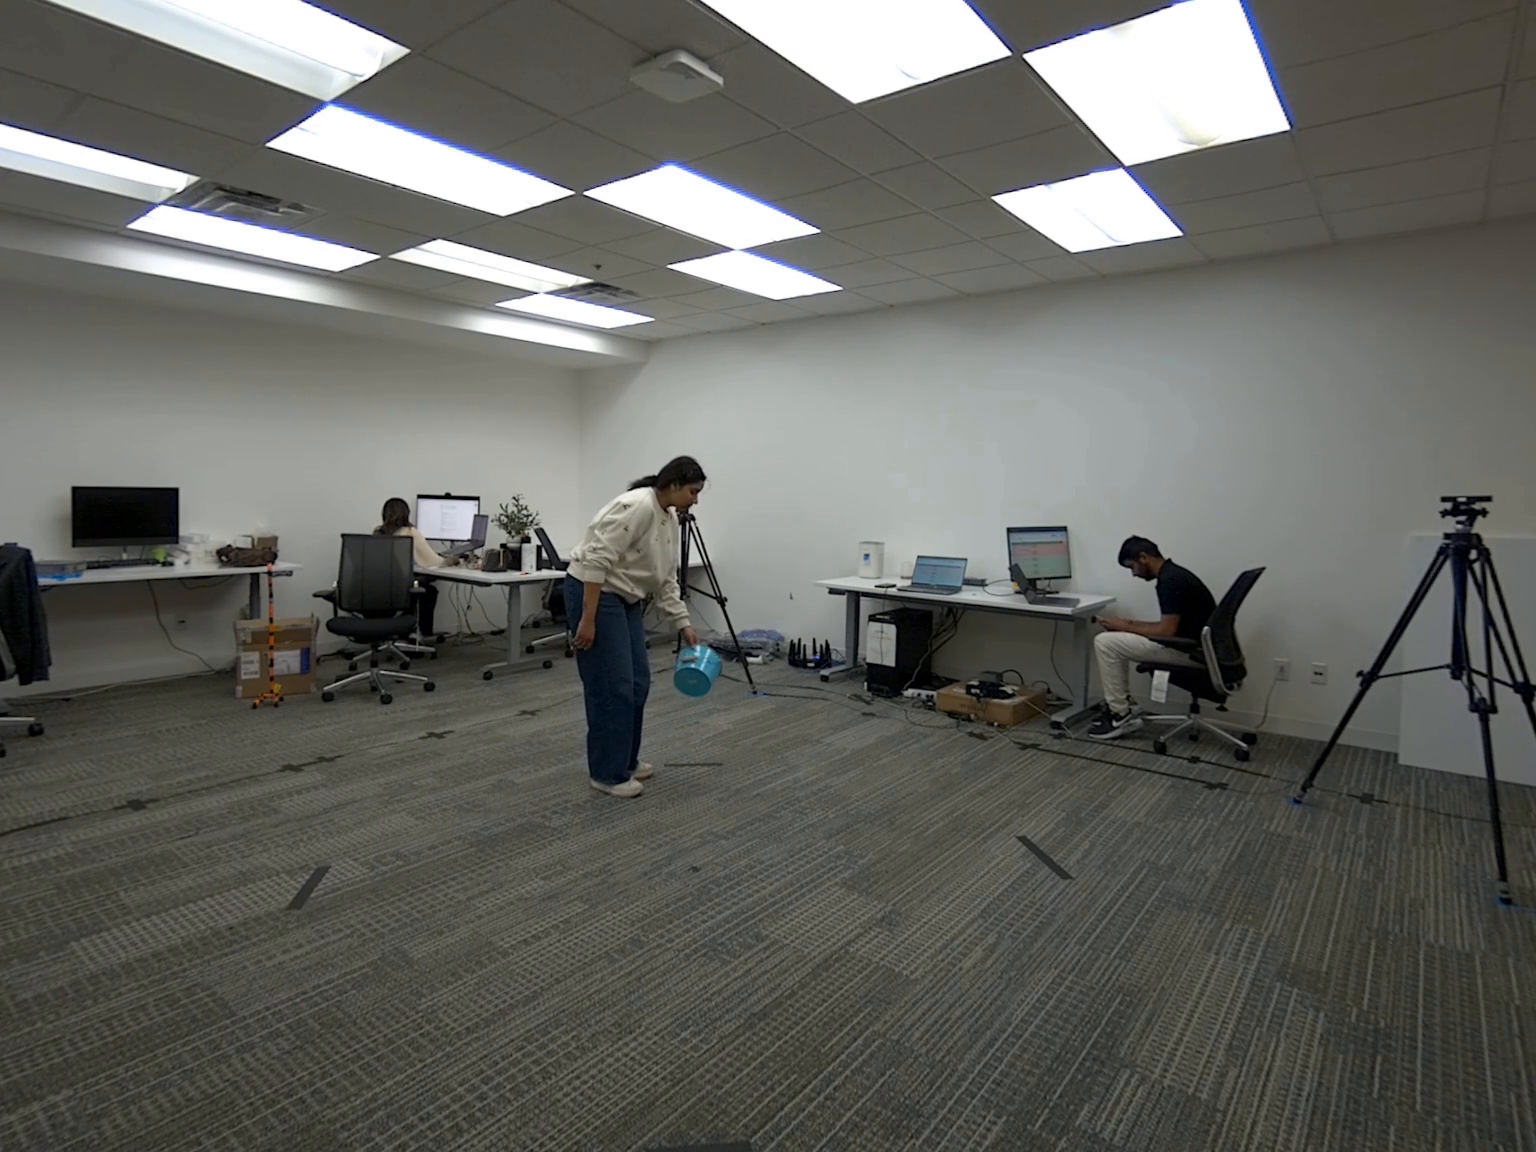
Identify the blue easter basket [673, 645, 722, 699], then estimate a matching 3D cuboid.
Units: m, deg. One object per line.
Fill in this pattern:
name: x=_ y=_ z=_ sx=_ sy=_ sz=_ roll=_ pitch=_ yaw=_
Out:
blue easter basket: x=-0.363 y=0.472 z=4.085 sx=0.247 sy=0.237 sz=0.157 roll=2 pitch=28 yaw=14
